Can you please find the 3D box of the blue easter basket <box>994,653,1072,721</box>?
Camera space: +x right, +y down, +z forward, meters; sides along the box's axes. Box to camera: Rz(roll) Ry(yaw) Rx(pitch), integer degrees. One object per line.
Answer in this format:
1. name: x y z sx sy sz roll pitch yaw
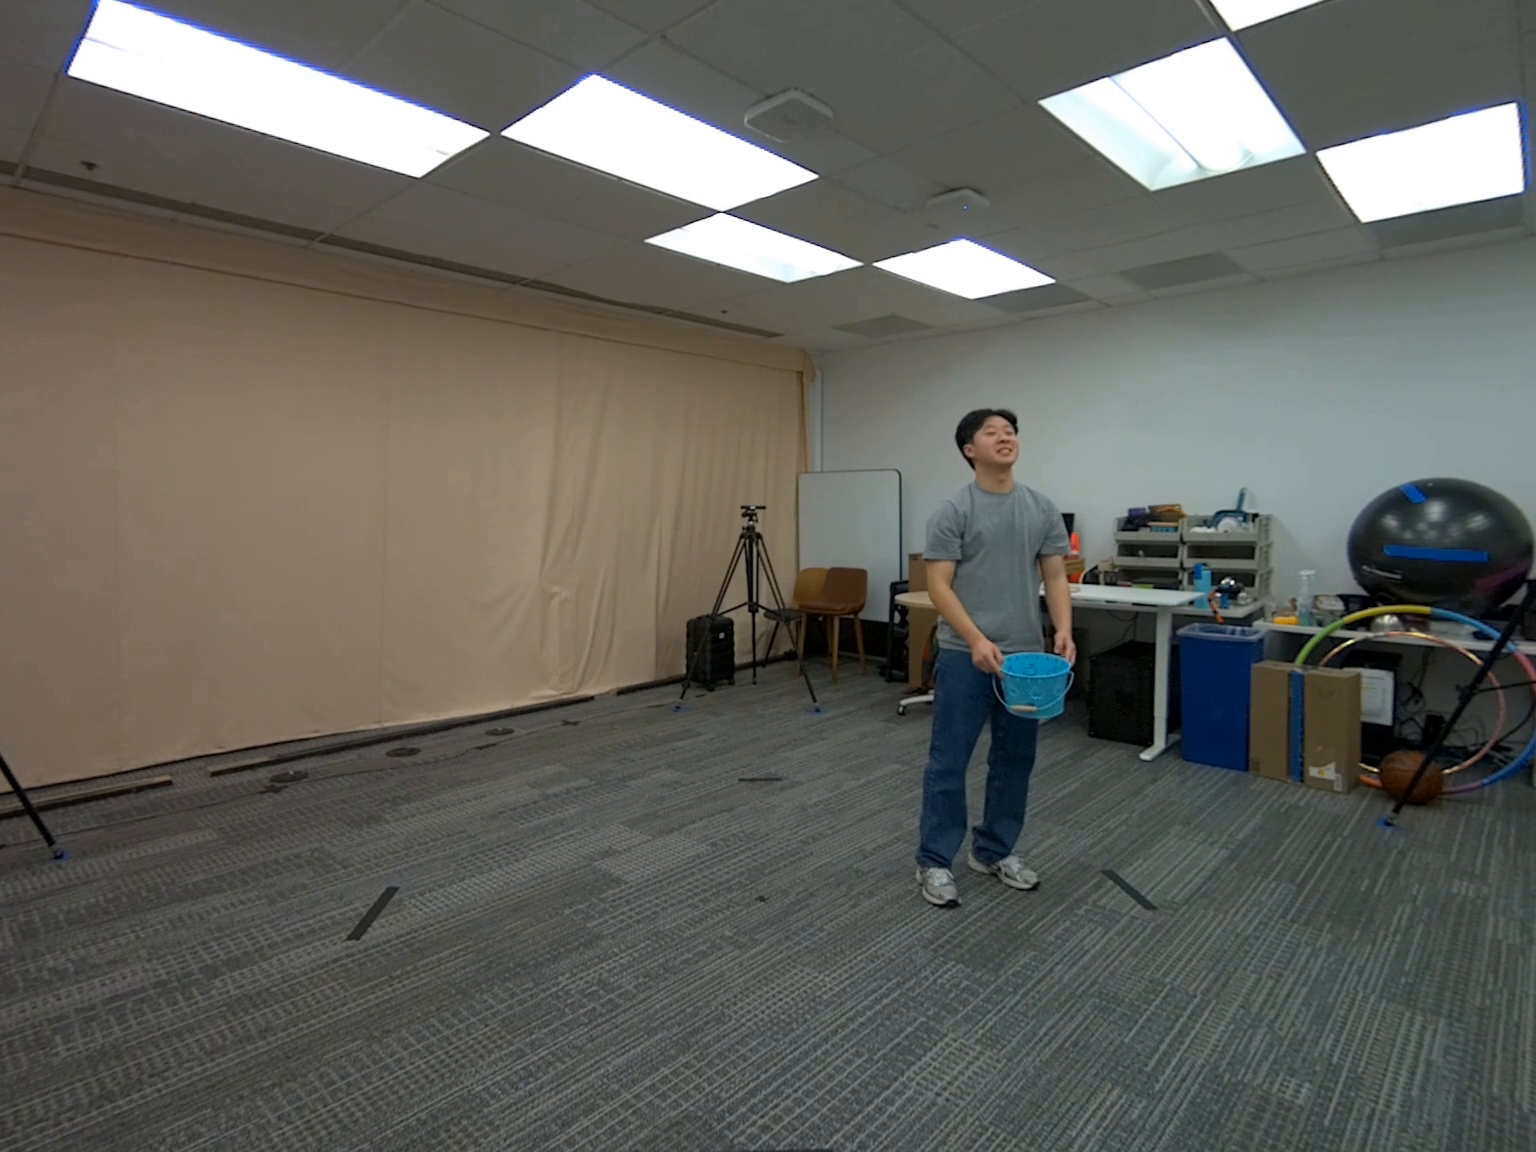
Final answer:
1. blue easter basket: 0.874 0.376 2.800 0.243 0.155 0.245 -6 11 -1
